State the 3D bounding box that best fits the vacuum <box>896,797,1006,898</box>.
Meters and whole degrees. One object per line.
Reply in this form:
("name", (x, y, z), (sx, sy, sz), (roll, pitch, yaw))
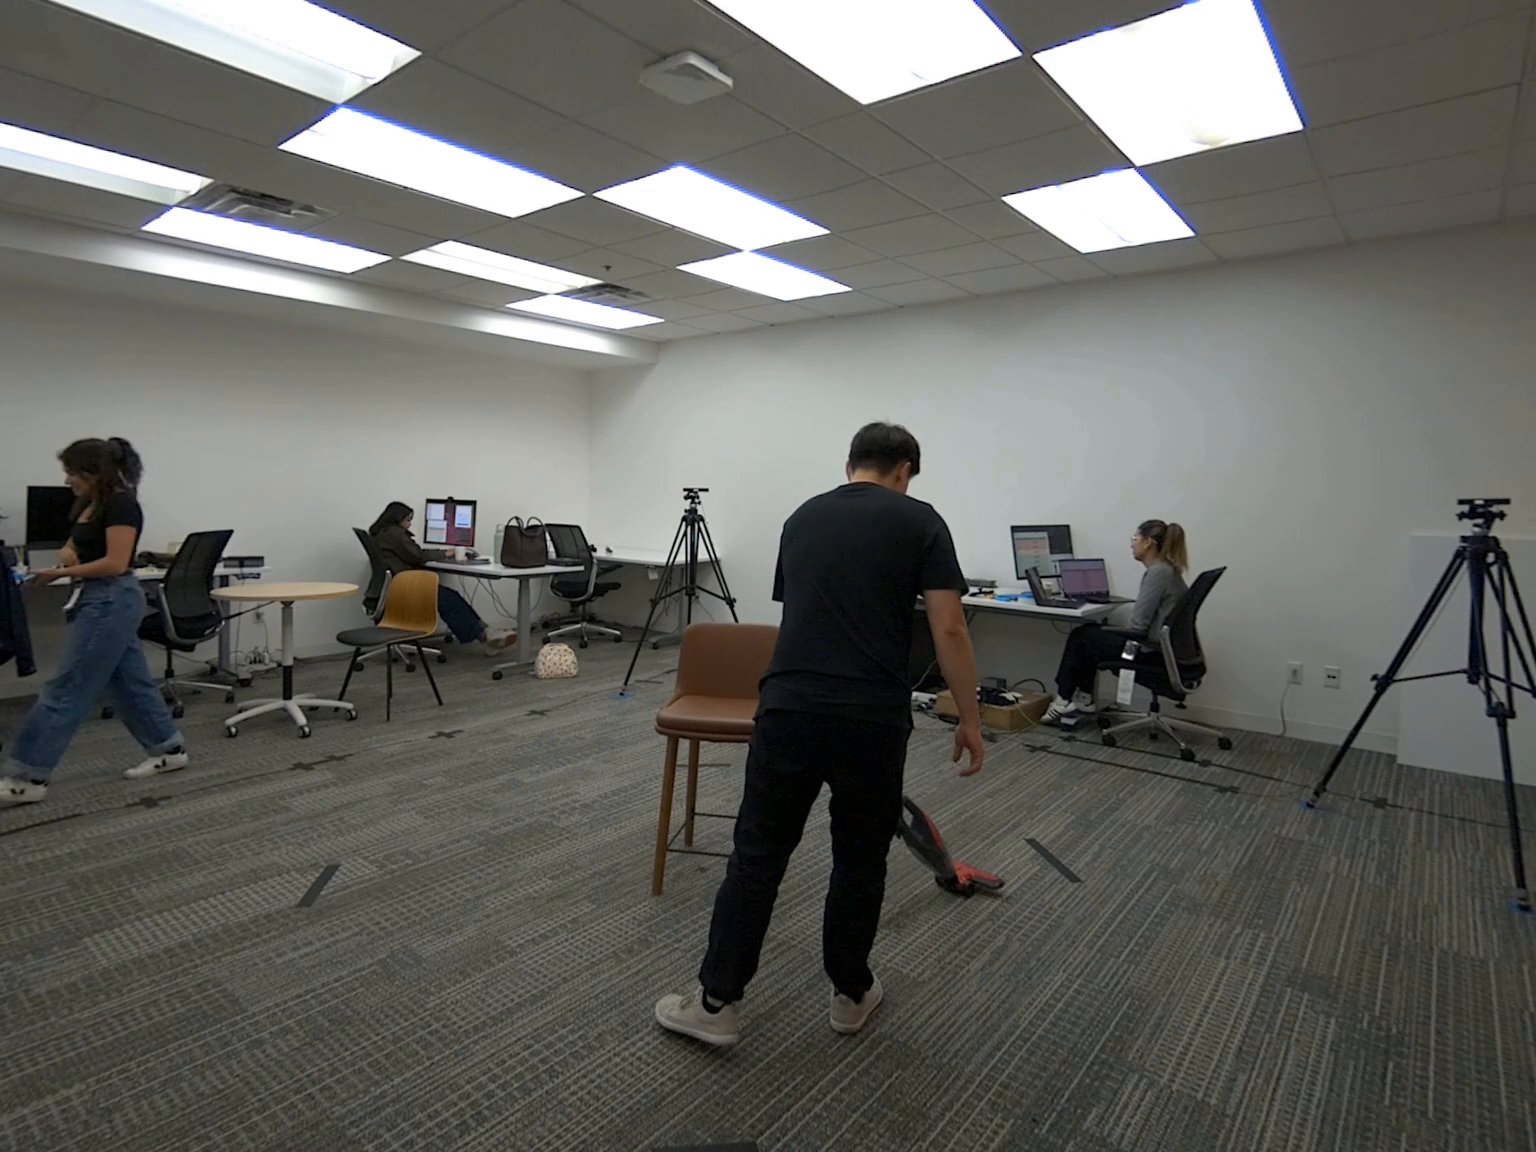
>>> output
("vacuum", (0.403, 0.753, 2.763), (0.261, 0.144, 1.011), (4, -38, 50))
